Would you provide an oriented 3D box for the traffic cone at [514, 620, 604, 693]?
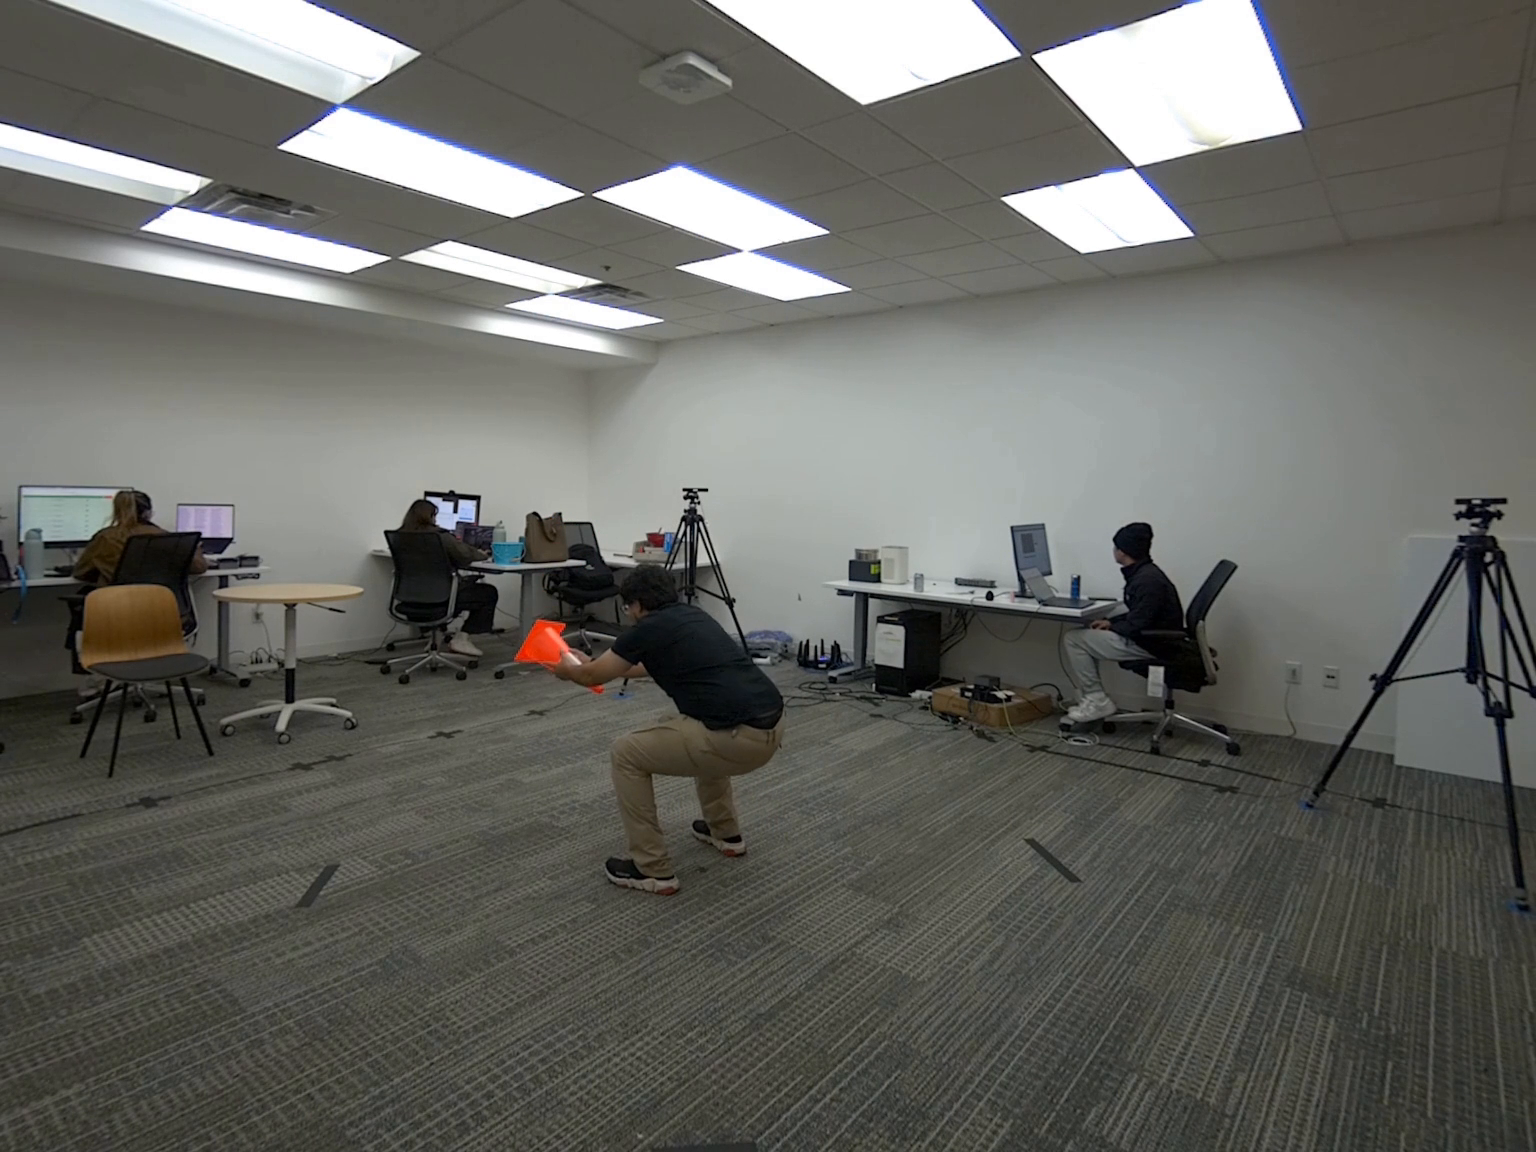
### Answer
[{"bbox_3d":[-0.839,0.366,3.530,0.397,0.203,0.198,30,2,28],"label":"traffic cone"}]
